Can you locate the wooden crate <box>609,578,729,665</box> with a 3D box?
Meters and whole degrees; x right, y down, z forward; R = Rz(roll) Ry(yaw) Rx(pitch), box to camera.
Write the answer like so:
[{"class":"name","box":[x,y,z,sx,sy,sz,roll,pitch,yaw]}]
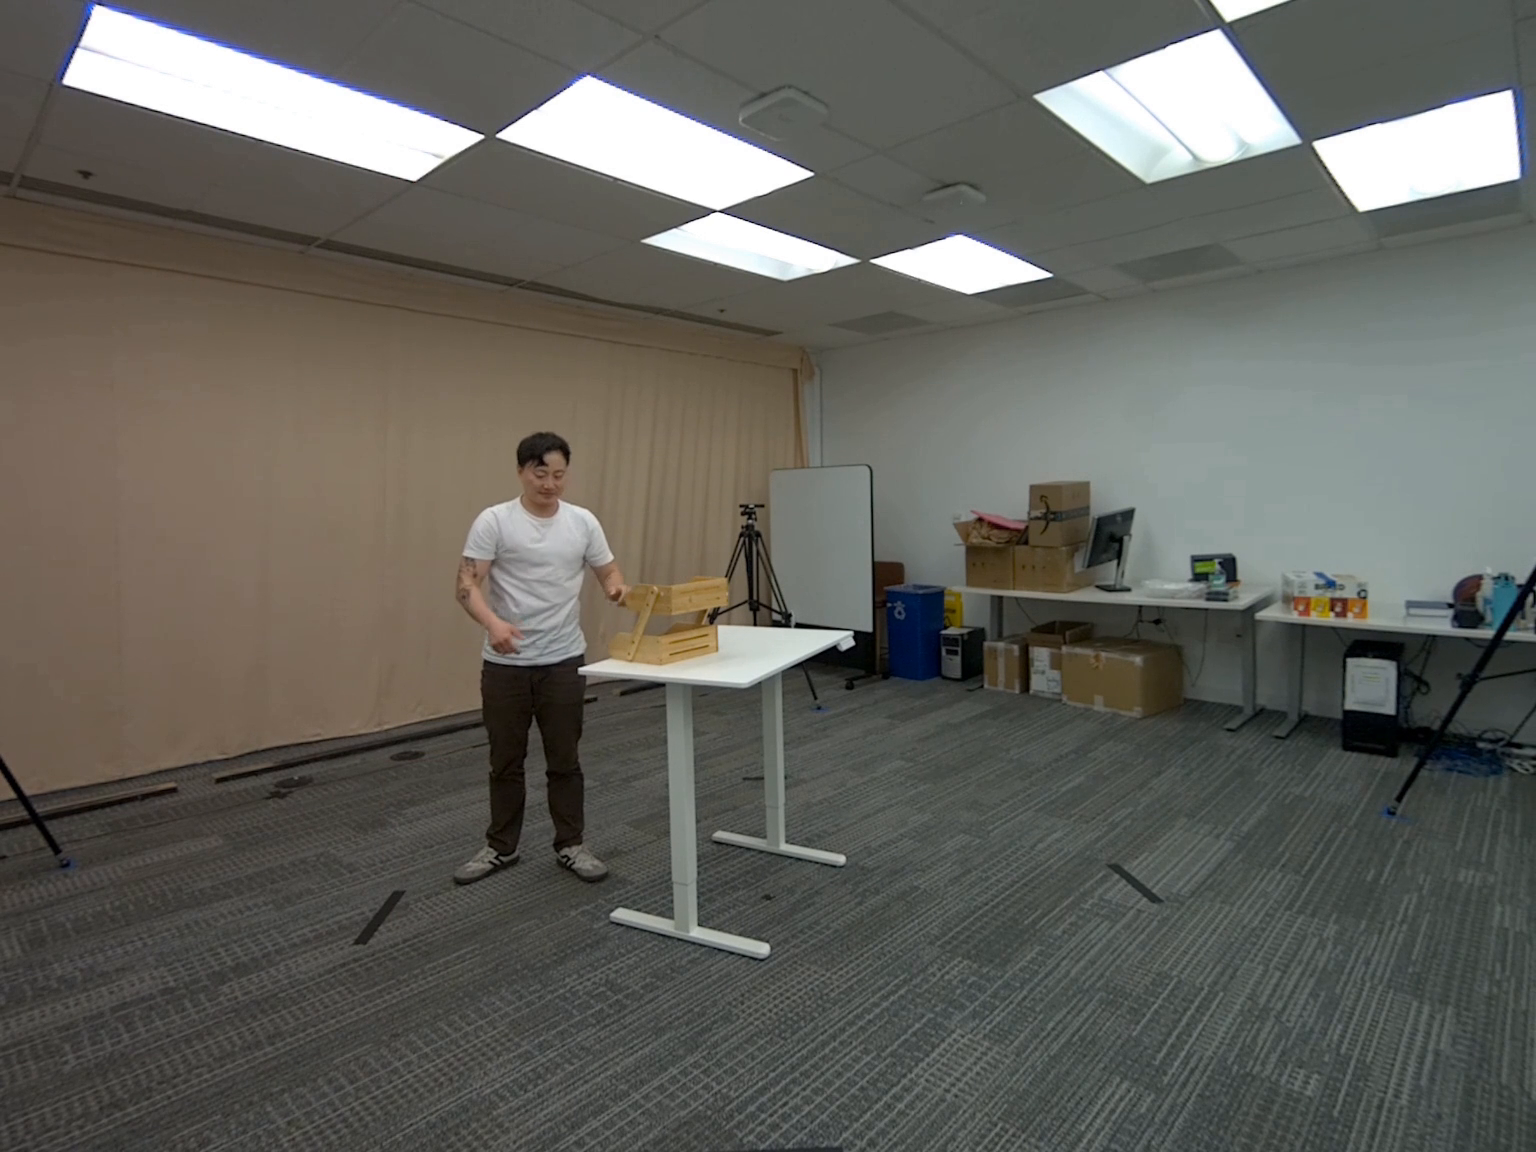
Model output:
[{"class":"wooden crate","box":[-0.342,0.142,2.887,0.312,0.272,0.315,3,6,37]}]
